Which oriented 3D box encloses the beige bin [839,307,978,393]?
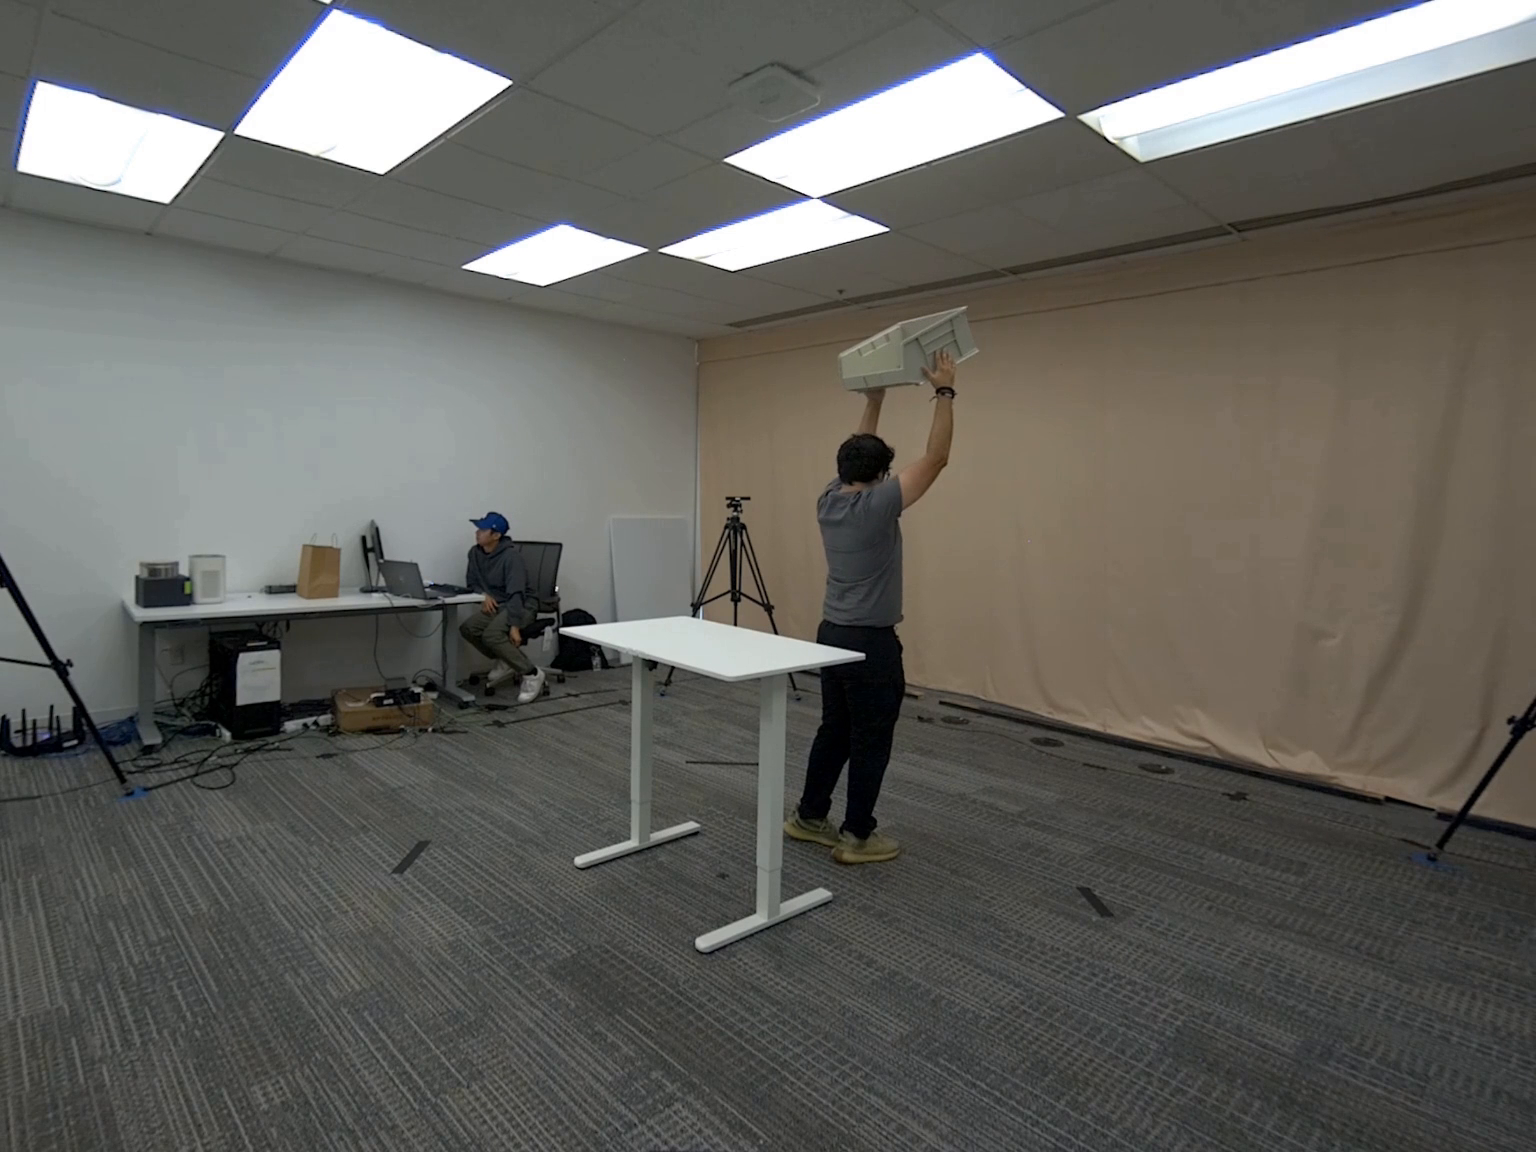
[{"bbox_3d":[0.537,-0.874,3.329,0.375,0.186,0.432,-31,19,-21],"label":"beige bin"}]
